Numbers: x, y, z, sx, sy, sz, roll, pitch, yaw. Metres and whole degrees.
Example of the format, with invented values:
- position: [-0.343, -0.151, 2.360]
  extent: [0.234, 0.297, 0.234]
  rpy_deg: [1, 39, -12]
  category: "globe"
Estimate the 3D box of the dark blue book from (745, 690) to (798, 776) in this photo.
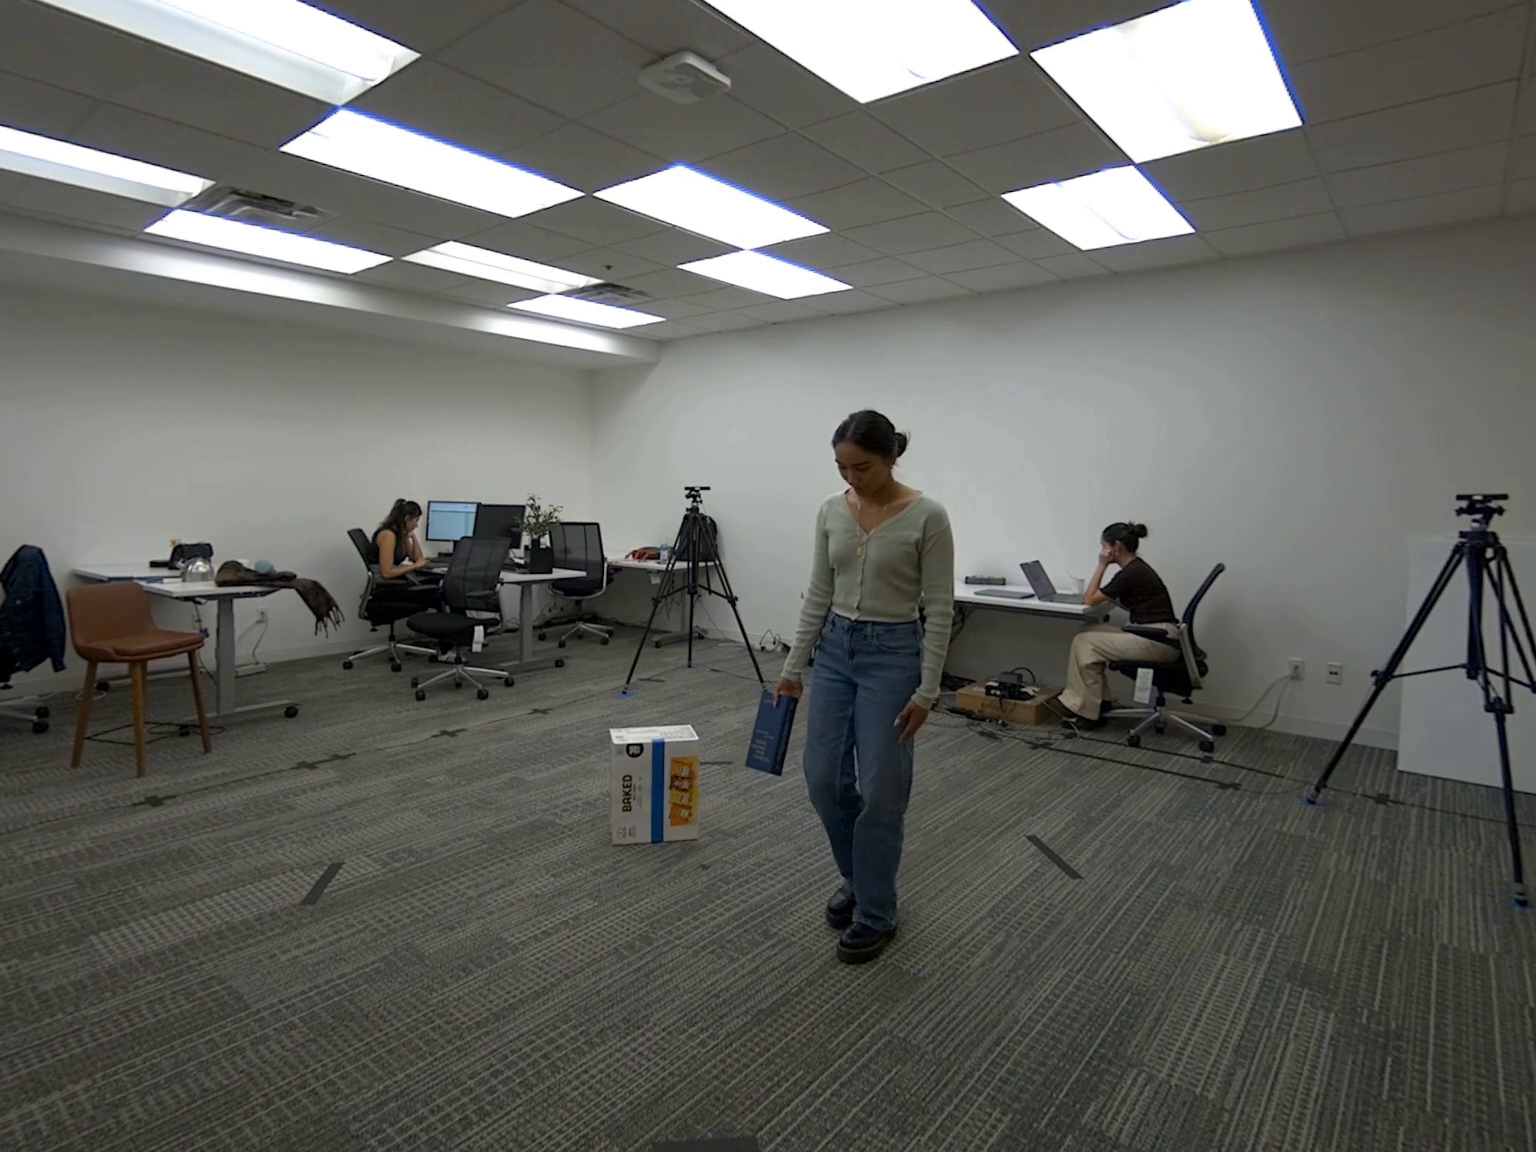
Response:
- position: [0.003, 0.502, 2.701]
  extent: [0.044, 0.247, 0.167]
  rpy_deg: [21, -15, -27]
  category: "dark blue book"
